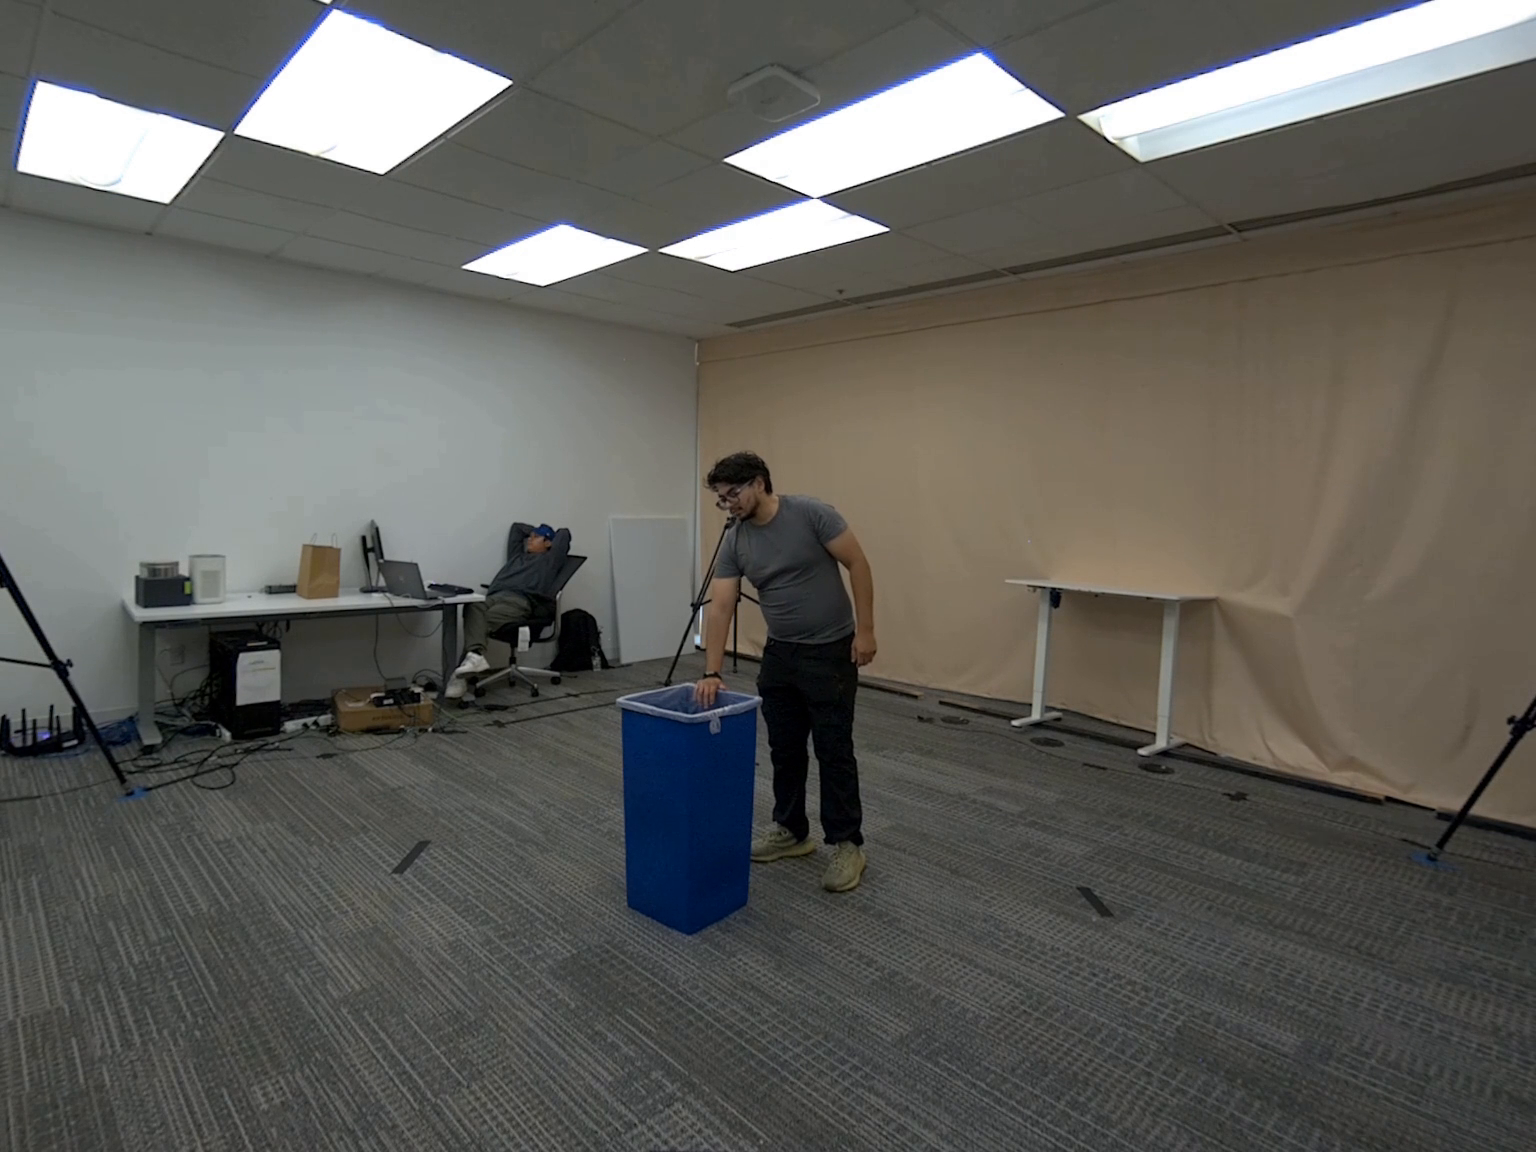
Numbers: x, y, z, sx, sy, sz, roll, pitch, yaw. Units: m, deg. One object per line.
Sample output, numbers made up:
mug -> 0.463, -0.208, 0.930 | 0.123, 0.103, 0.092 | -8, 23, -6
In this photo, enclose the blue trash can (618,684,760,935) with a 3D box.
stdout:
blue trash can -> -0.283, 0.767, 2.861 | 0.383, 0.712, 0.369 | 4, 4, 40
